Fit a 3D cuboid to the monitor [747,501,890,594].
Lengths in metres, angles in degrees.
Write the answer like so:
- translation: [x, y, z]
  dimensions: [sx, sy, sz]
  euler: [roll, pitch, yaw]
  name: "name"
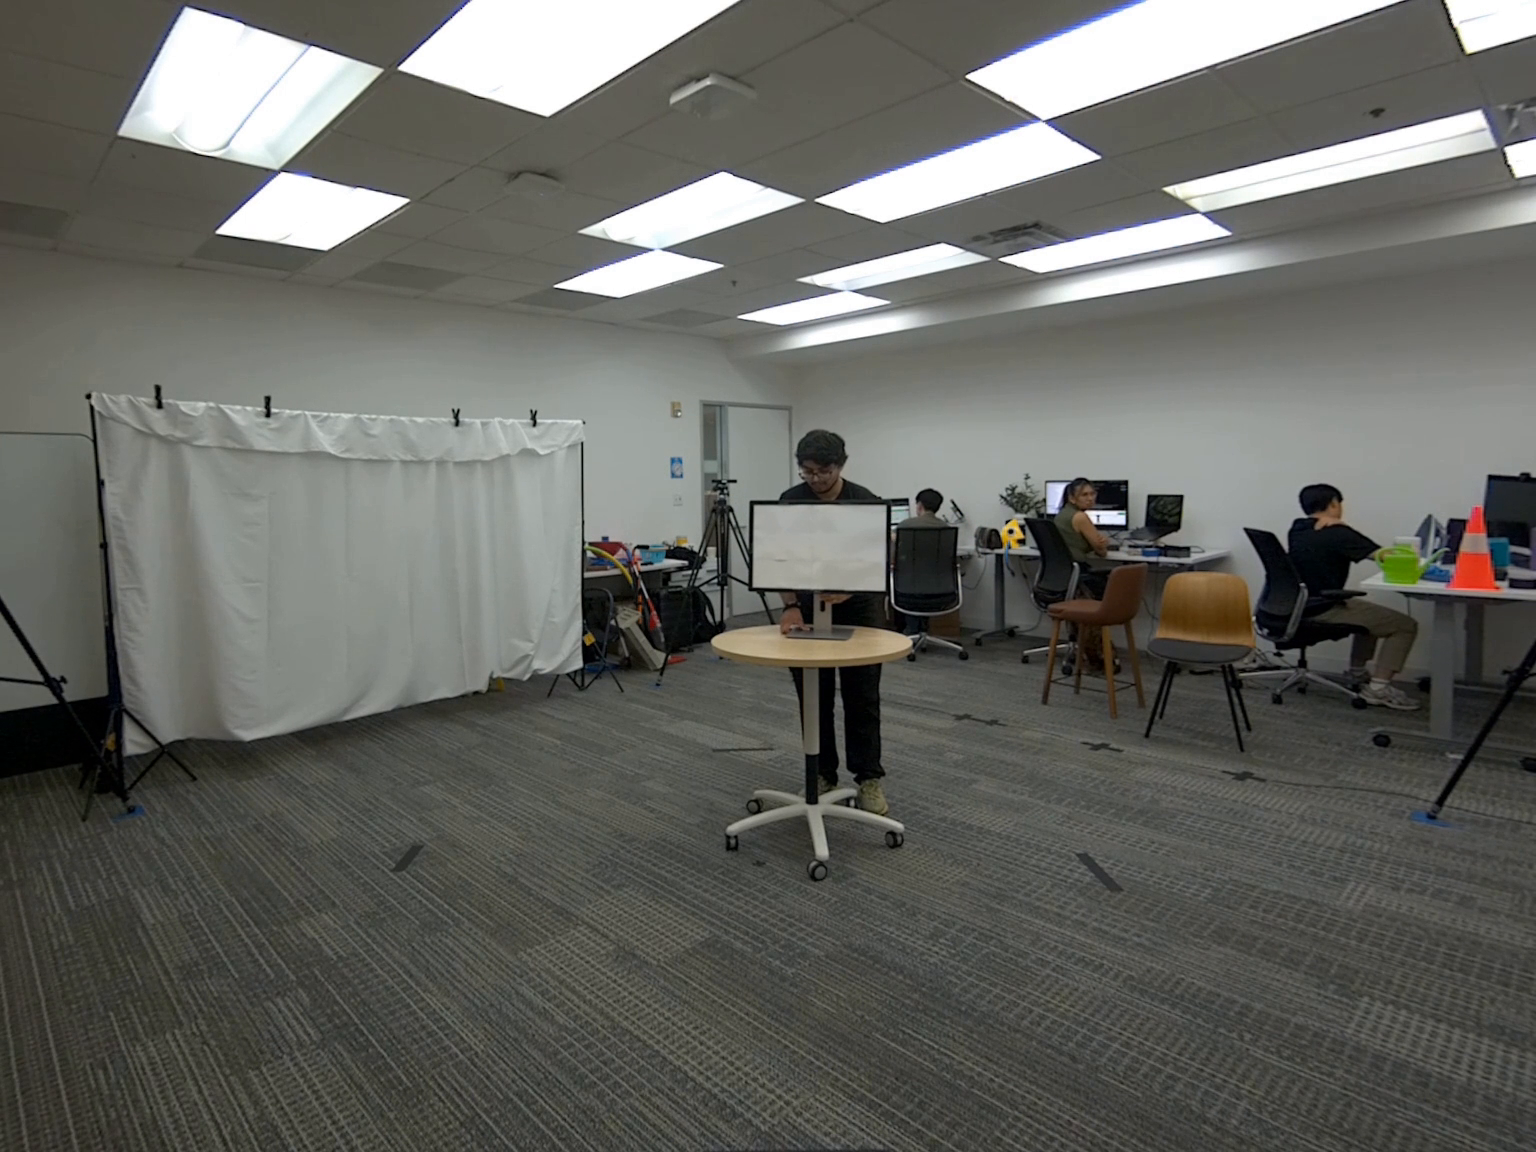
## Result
- translation: [0.208, -0.029, 3.397]
  dimensions: [0.574, 0.553, 0.207]
  euler: [1, 2, 16]
  name: "monitor"
